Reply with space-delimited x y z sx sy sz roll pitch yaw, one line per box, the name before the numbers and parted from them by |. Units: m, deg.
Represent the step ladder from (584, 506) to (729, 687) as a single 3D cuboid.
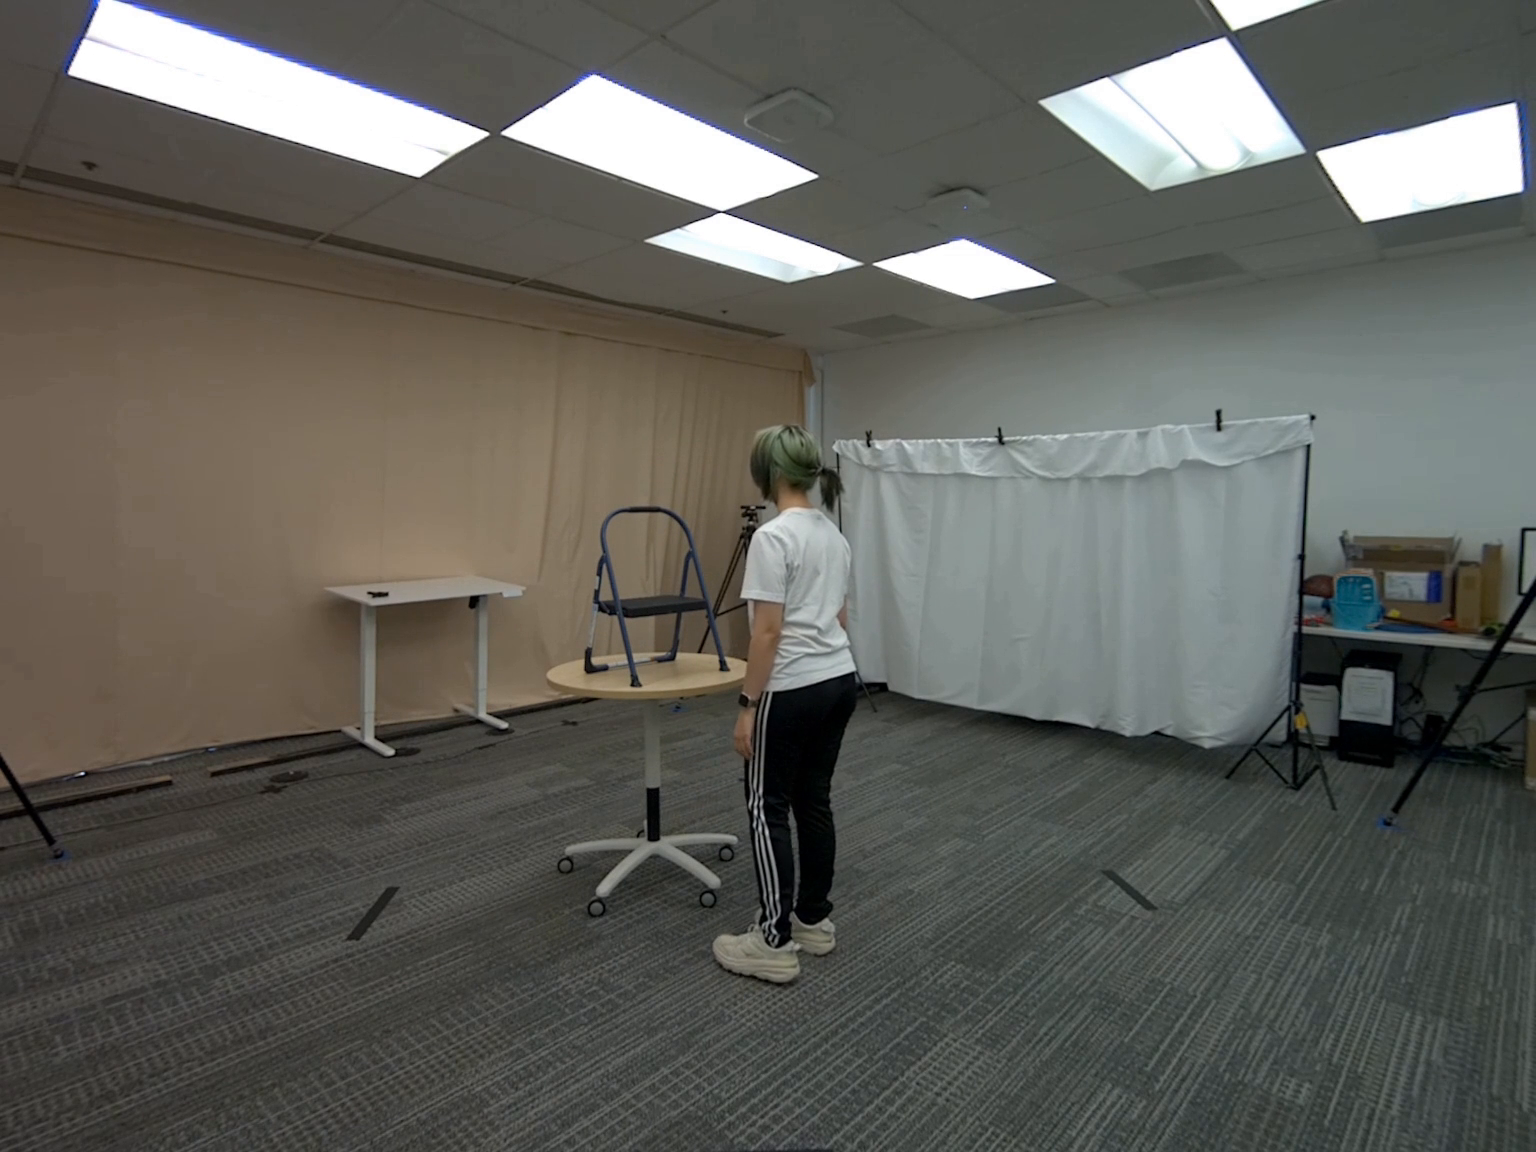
step ladder | -0.415 0.053 3.074 0.417 0.605 0.361 -3 3 -42
